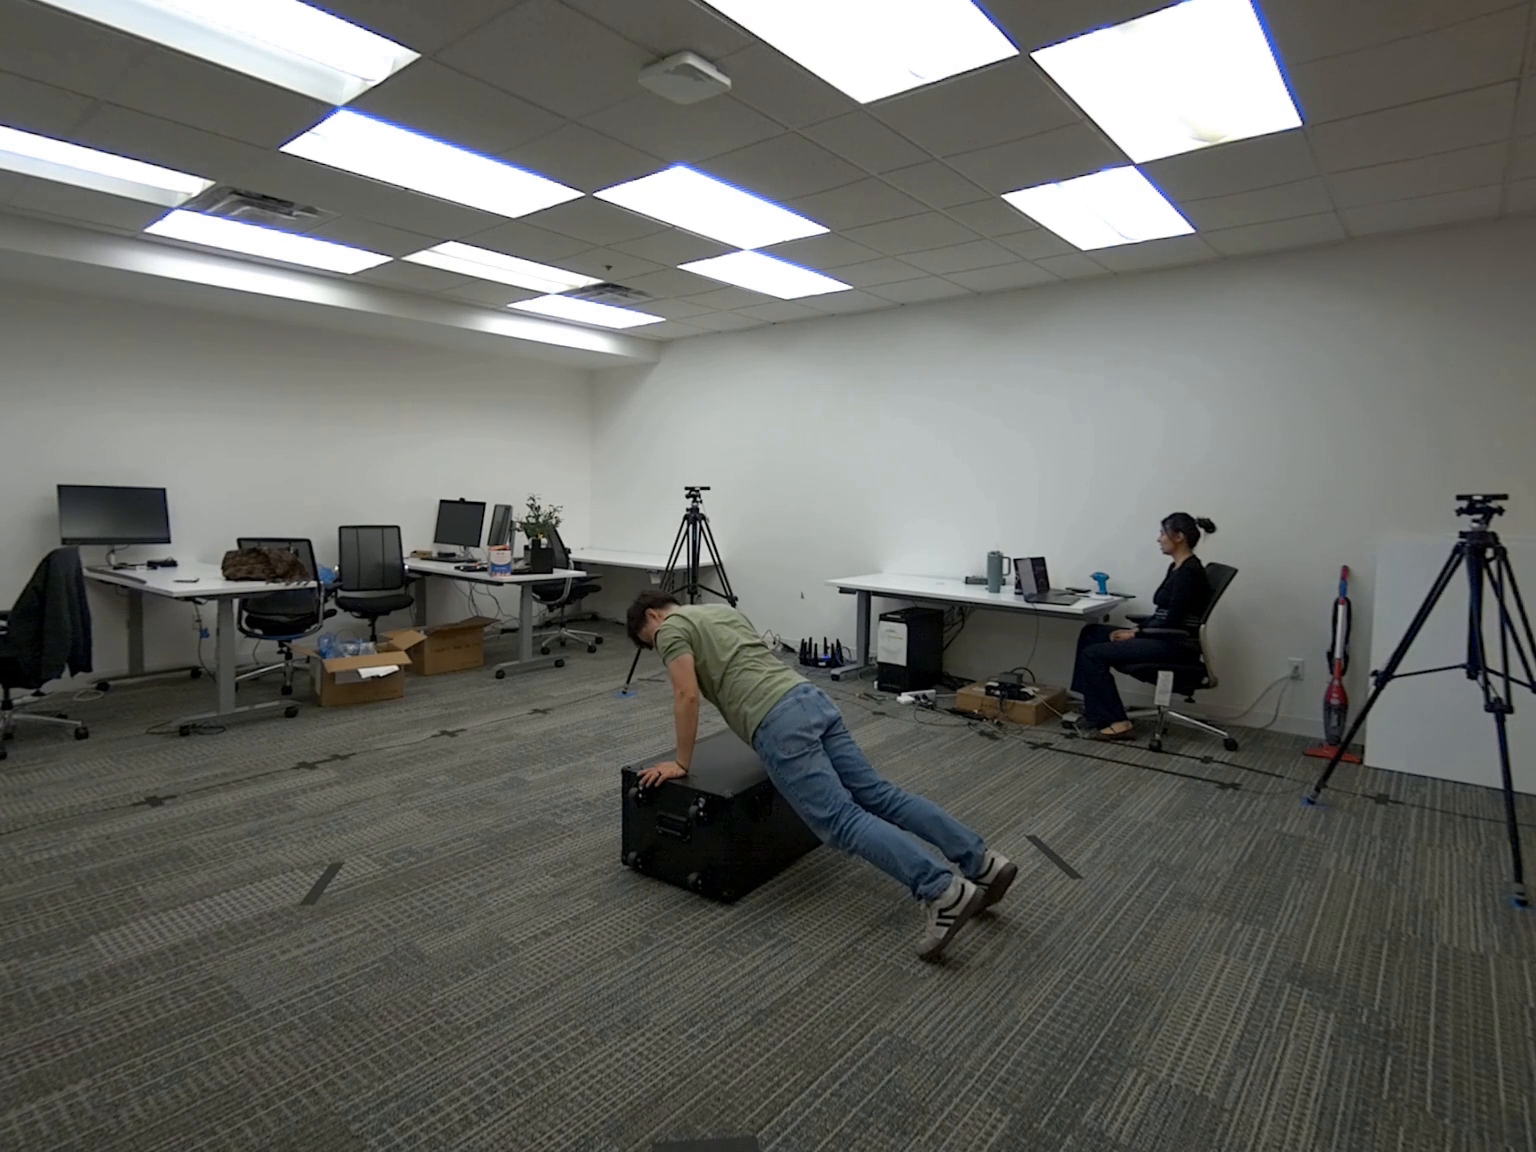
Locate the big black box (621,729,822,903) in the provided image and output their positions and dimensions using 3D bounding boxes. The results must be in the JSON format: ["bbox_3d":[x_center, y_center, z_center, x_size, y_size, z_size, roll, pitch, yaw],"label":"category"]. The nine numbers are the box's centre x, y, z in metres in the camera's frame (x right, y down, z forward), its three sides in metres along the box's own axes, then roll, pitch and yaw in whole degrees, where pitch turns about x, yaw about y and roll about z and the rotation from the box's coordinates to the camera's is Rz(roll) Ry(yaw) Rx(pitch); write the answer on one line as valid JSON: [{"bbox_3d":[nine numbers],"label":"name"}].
[{"bbox_3d":[-0.152,0.868,3.223,0.538,0.395,0.837,4,5,33],"label":"big black box"}]
